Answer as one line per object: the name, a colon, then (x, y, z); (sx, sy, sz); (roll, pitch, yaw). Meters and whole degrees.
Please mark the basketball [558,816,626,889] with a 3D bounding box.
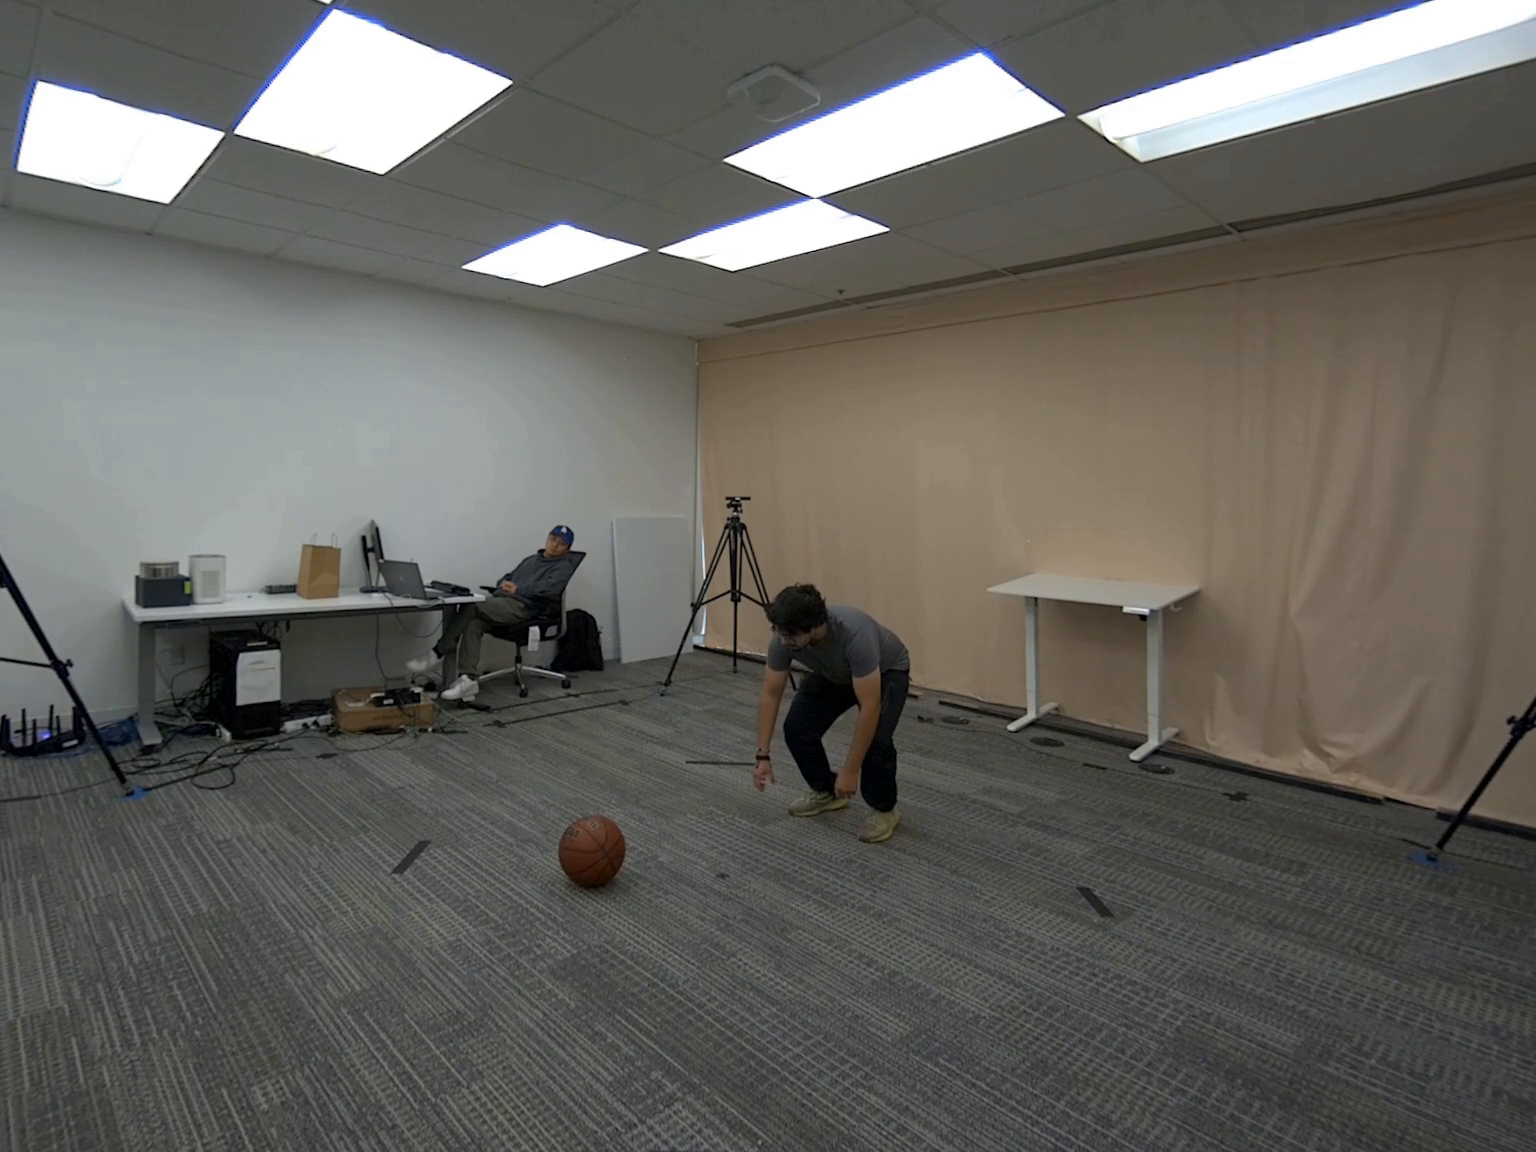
basketball: (-0.640, 0.986, 3.014); (0.236, 0.235, 0.237); (1, 4, -1)
